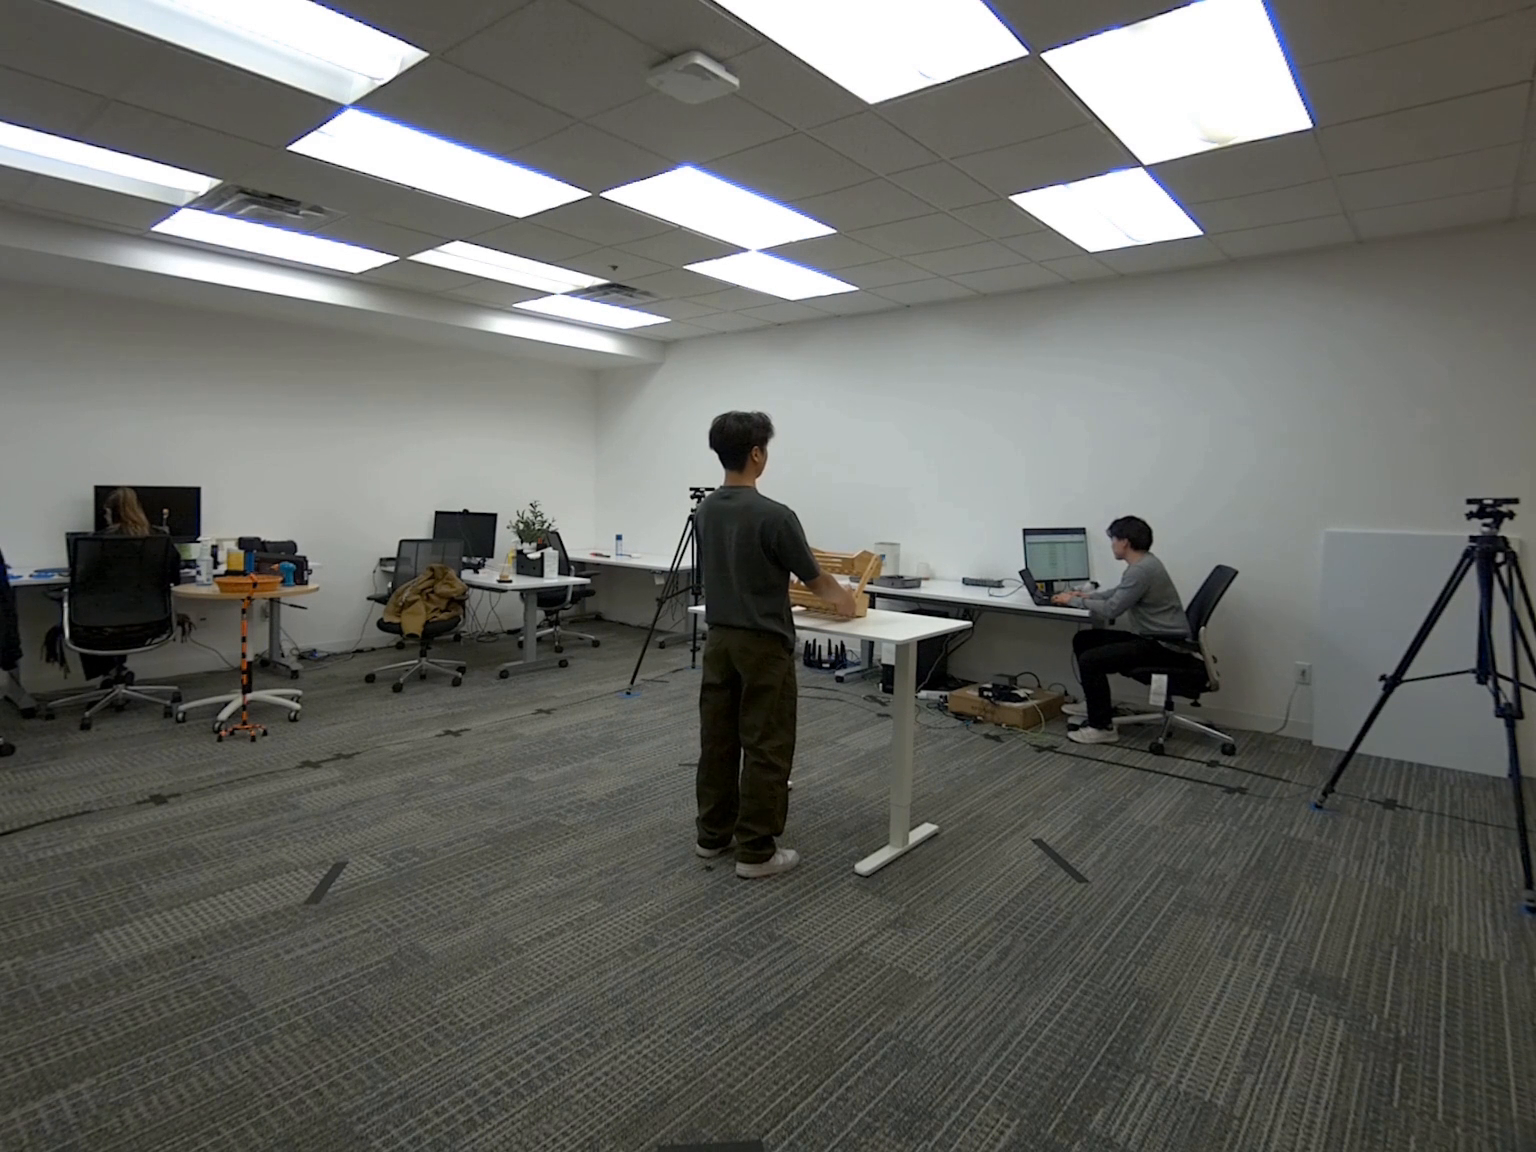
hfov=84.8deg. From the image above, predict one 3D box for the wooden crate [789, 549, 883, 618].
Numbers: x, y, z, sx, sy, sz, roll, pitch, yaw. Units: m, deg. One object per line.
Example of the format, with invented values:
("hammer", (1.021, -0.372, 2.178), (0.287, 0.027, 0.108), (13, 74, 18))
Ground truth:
("wooden crate", (0.240, 0.004, 3.503), (0.336, 0.274, 0.290), (6, -7, 41))
